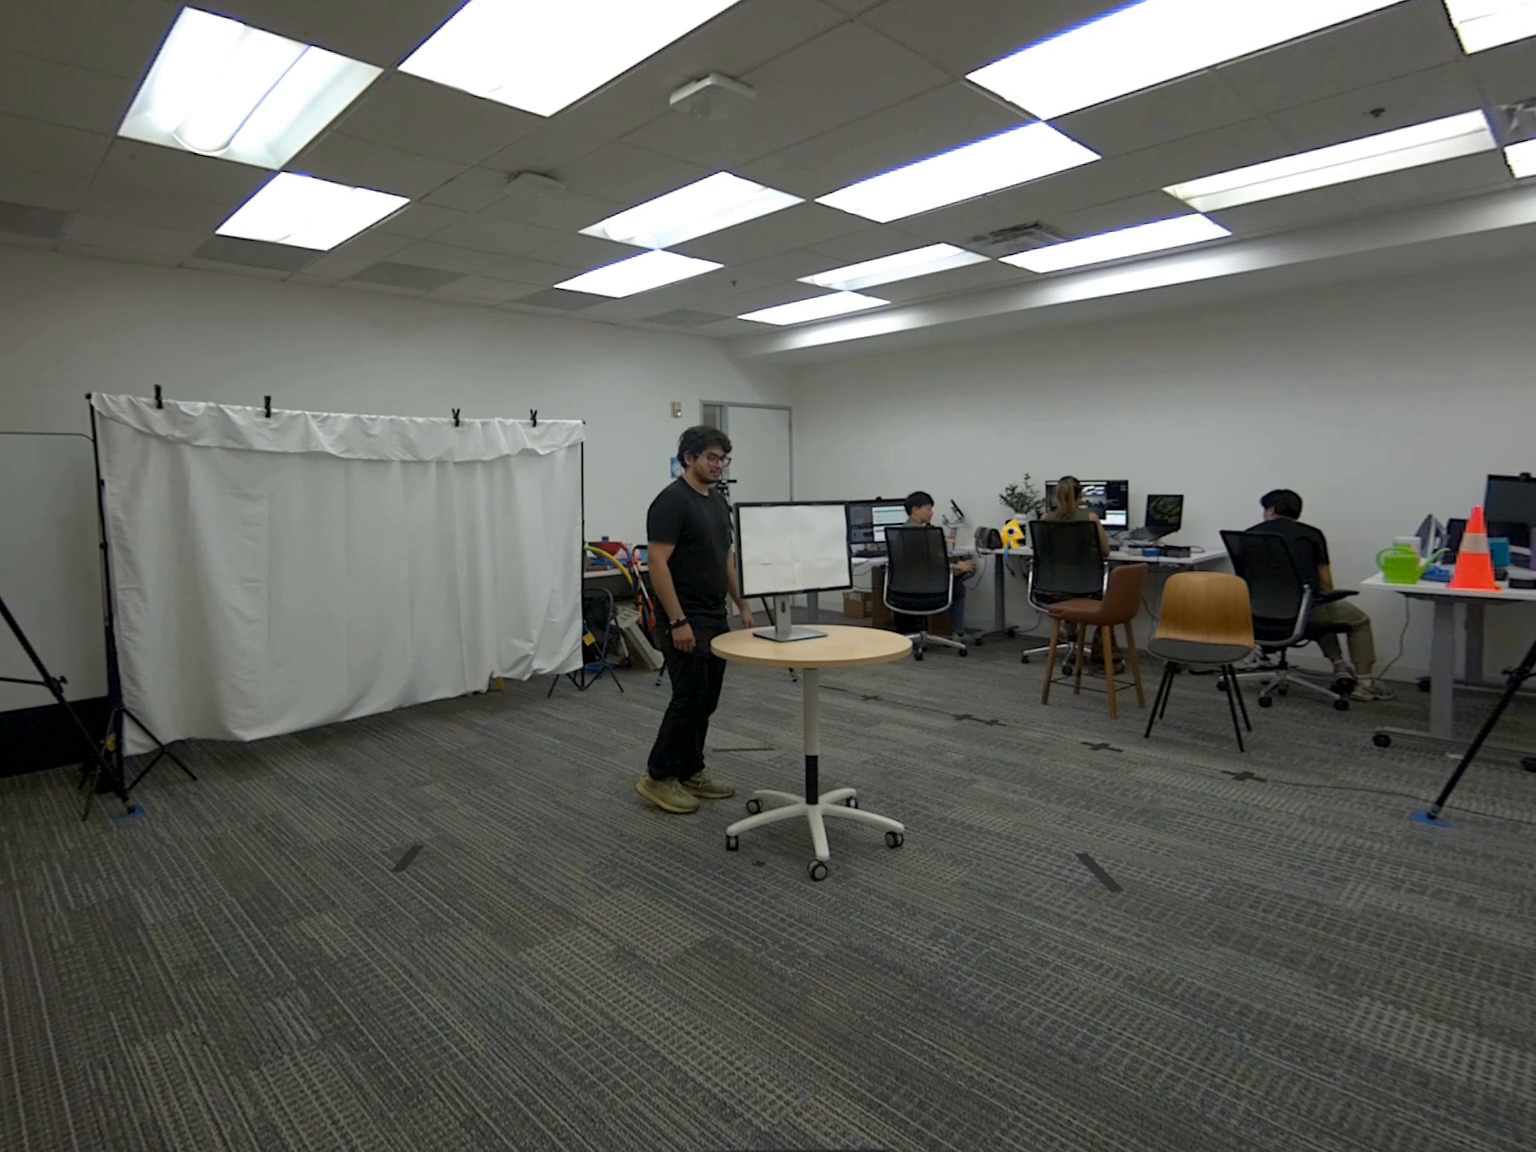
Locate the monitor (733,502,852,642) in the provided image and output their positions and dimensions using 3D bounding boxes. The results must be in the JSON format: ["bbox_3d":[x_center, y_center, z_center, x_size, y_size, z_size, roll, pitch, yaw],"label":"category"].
[{"bbox_3d":[0.074,-0.027,3.412,0.551,0.553,0.216,-4,2,-34],"label":"monitor"}]
